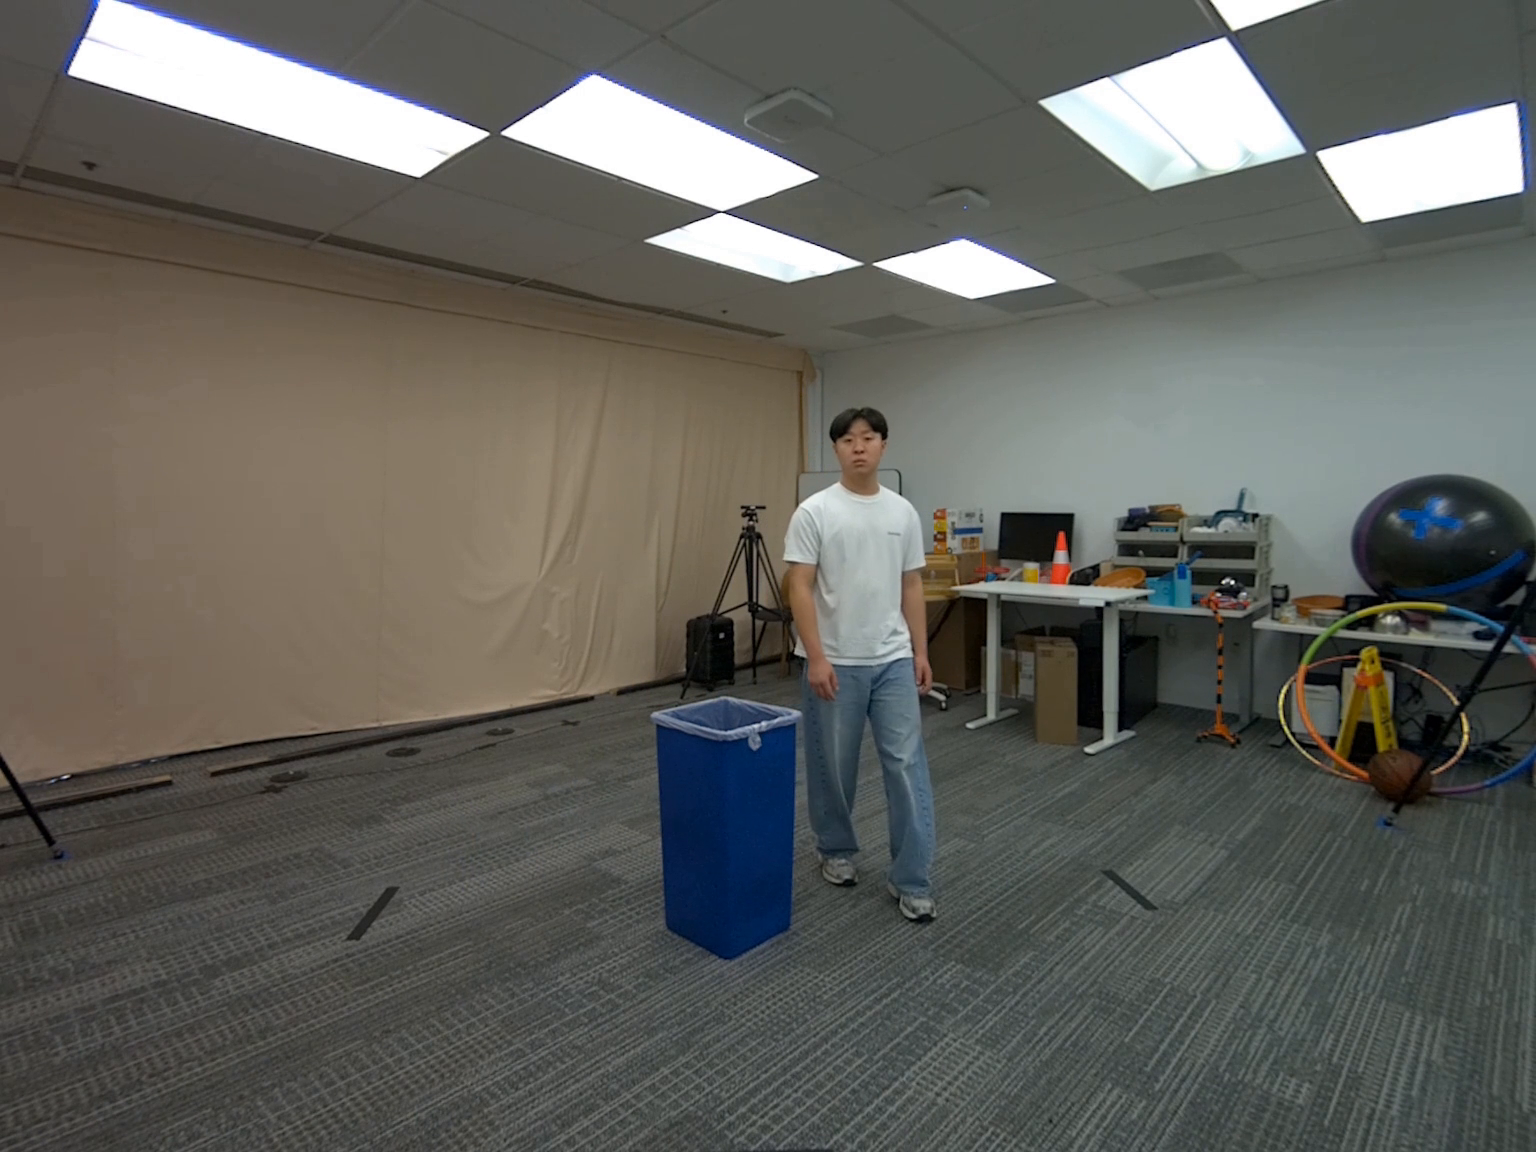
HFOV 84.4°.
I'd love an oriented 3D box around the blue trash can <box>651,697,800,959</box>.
[{"bbox_3d":[-0.140,0.803,2.767,0.386,0.712,0.366,3,4,44],"label":"blue trash can"}]
